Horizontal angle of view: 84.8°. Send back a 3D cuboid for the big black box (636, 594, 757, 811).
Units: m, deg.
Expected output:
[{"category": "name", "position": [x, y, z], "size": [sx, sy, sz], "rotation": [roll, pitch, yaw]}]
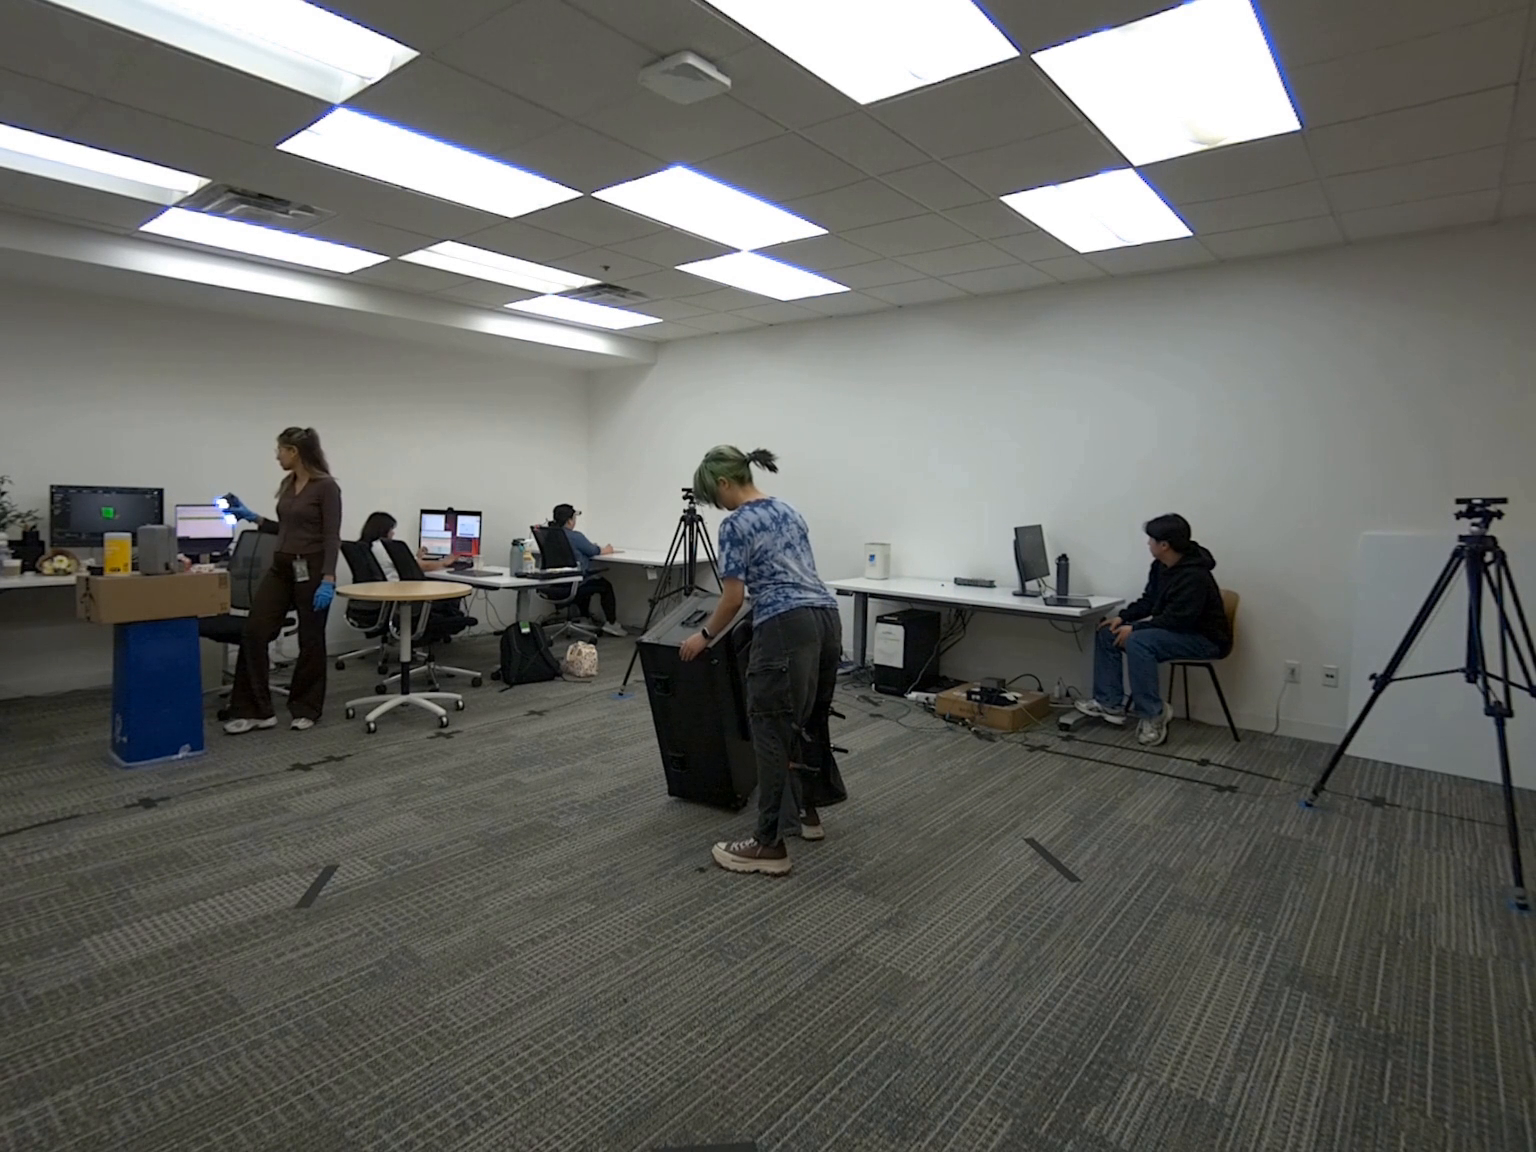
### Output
[{"category": "big black box", "position": [-0.233, 0.564, 3.768], "size": [0.408, 0.843, 0.517], "rotation": [4, 24, 29]}]
